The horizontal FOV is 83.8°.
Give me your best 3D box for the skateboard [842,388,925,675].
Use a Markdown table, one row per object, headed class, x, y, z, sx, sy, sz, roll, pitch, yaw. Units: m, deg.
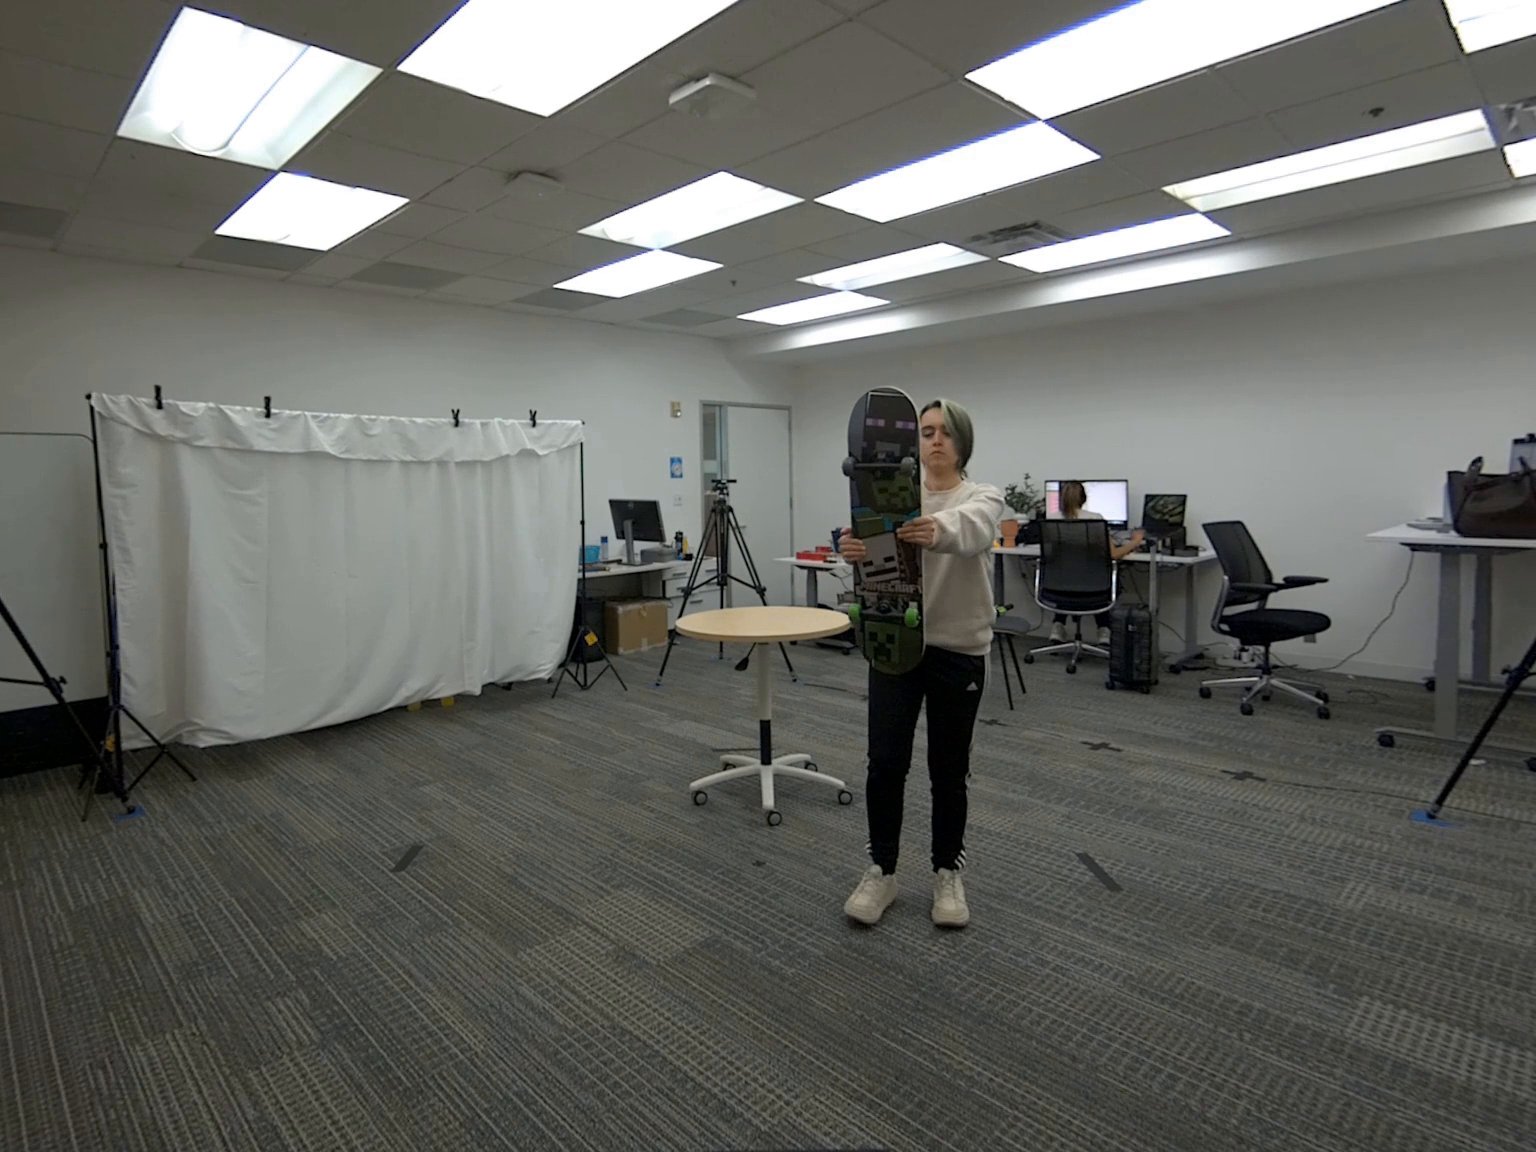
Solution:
| class | x | y | z | sx | sy | sz | roll | pitch | yaw |
| --- | --- | --- | --- | --- | --- | --- | --- | --- | --- |
| skateboard | 0.309 | -0.096 | 2.245 | 0.198 | 0.775 | 0.109 | 3 | 15 | 26 |
